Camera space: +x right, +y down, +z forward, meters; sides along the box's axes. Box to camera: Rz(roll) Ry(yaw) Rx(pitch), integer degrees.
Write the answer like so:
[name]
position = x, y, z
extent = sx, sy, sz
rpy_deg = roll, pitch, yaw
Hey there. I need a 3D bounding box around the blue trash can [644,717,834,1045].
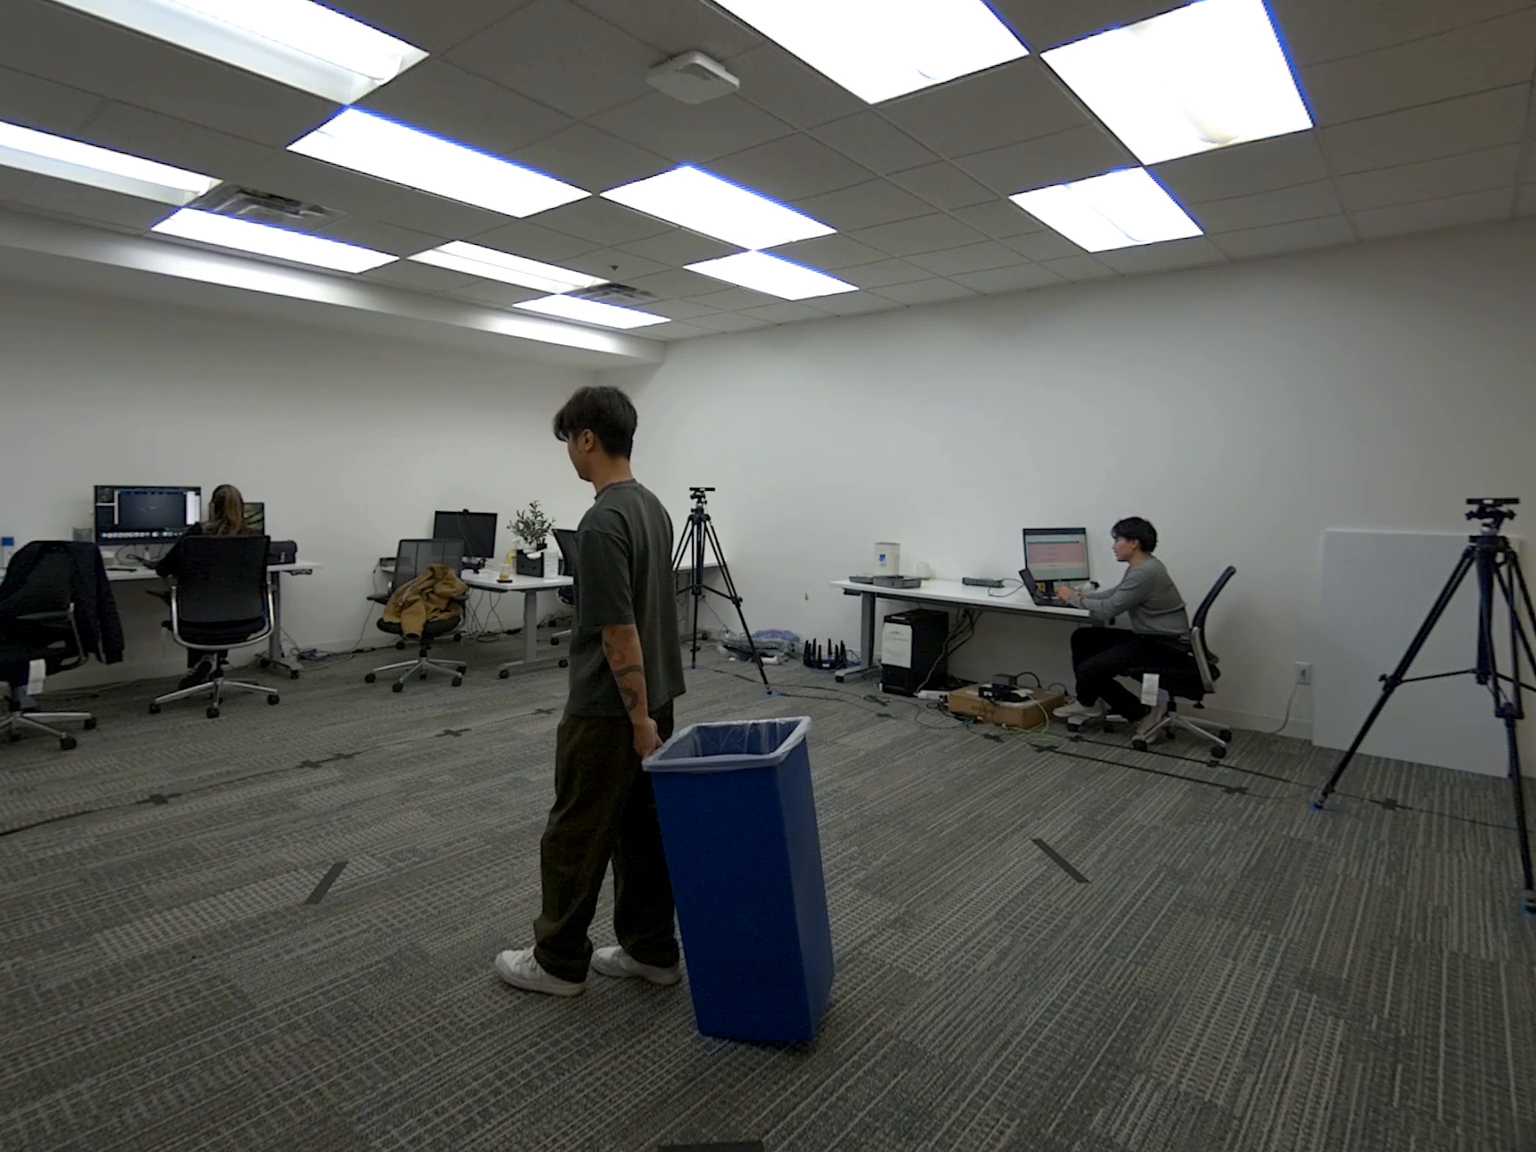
[blue trash can]
position = -0.059, 0.781, 2.244
extent = 0.384, 0.714, 0.368
rpy_deg = -8, 0, 18
